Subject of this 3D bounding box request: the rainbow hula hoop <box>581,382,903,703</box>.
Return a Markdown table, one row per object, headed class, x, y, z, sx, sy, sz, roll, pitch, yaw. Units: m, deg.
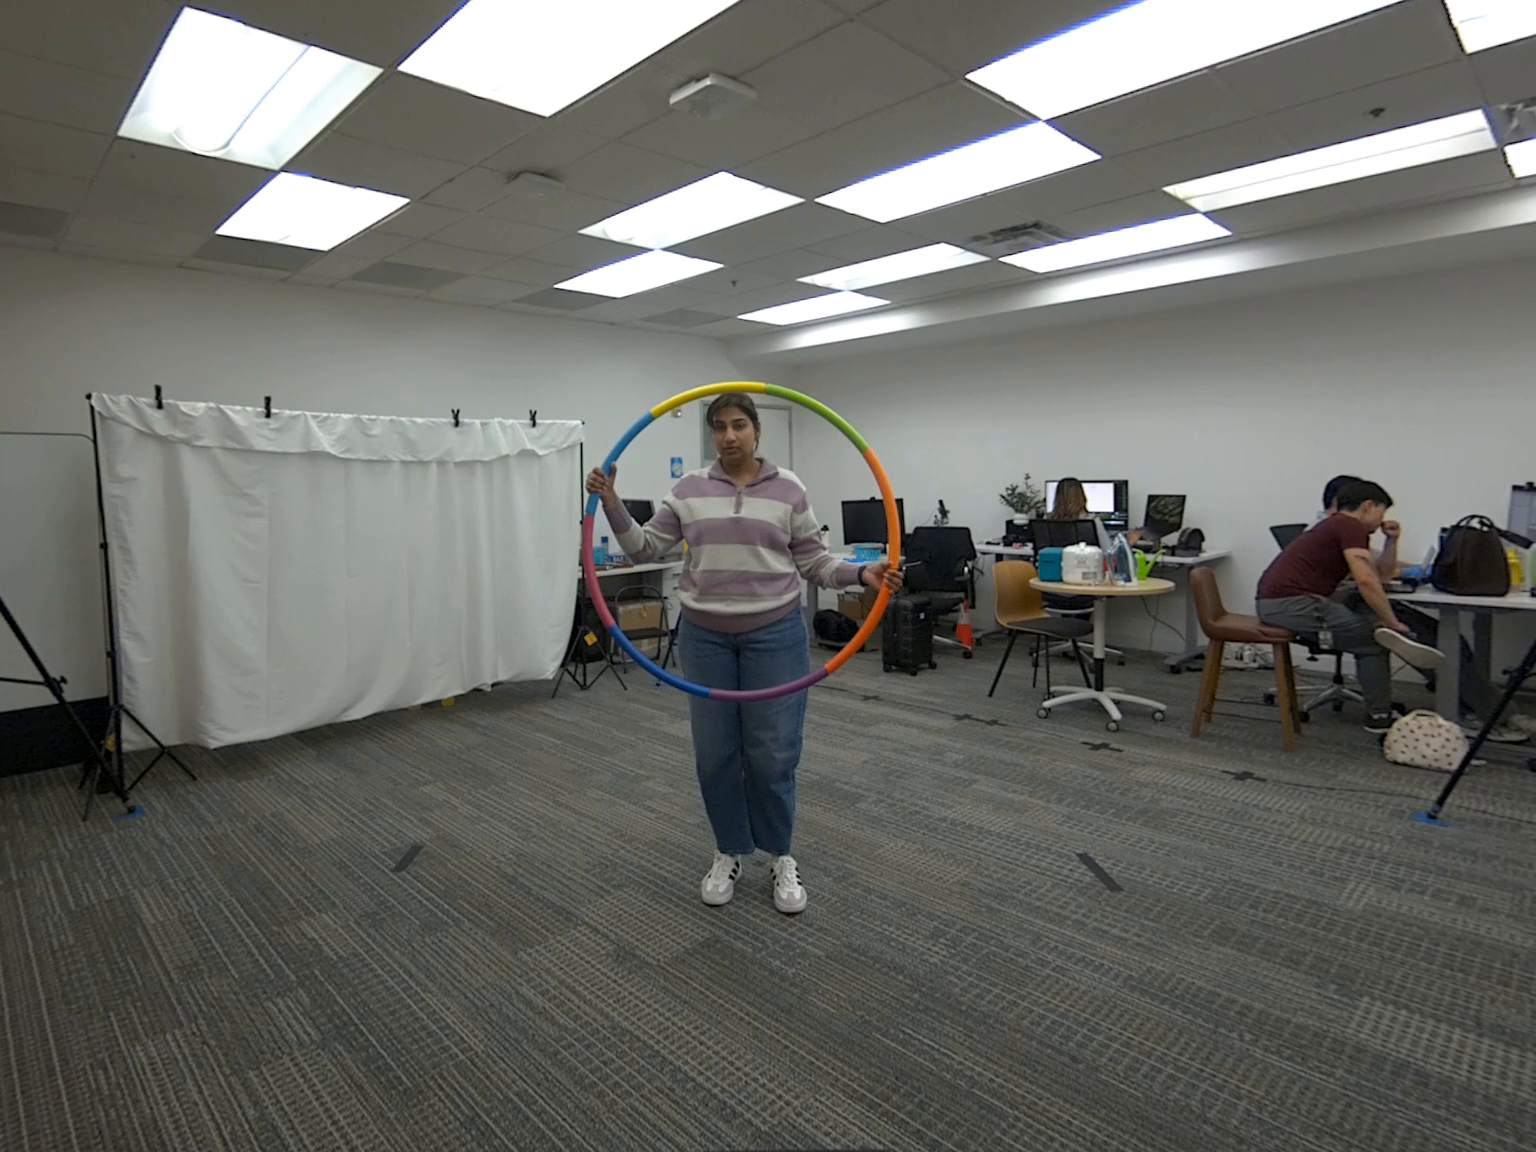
| class | x | y | z | sx | sy | sz | roll | pitch | yaw |
| --- | --- | --- | --- | --- | --- | --- | --- | --- | --- |
| rainbow hula hoop | -0.091 | -0.112 | 2.640 | 0.984 | 0.983 | 0.035 | -1 | -5 | 6 |
